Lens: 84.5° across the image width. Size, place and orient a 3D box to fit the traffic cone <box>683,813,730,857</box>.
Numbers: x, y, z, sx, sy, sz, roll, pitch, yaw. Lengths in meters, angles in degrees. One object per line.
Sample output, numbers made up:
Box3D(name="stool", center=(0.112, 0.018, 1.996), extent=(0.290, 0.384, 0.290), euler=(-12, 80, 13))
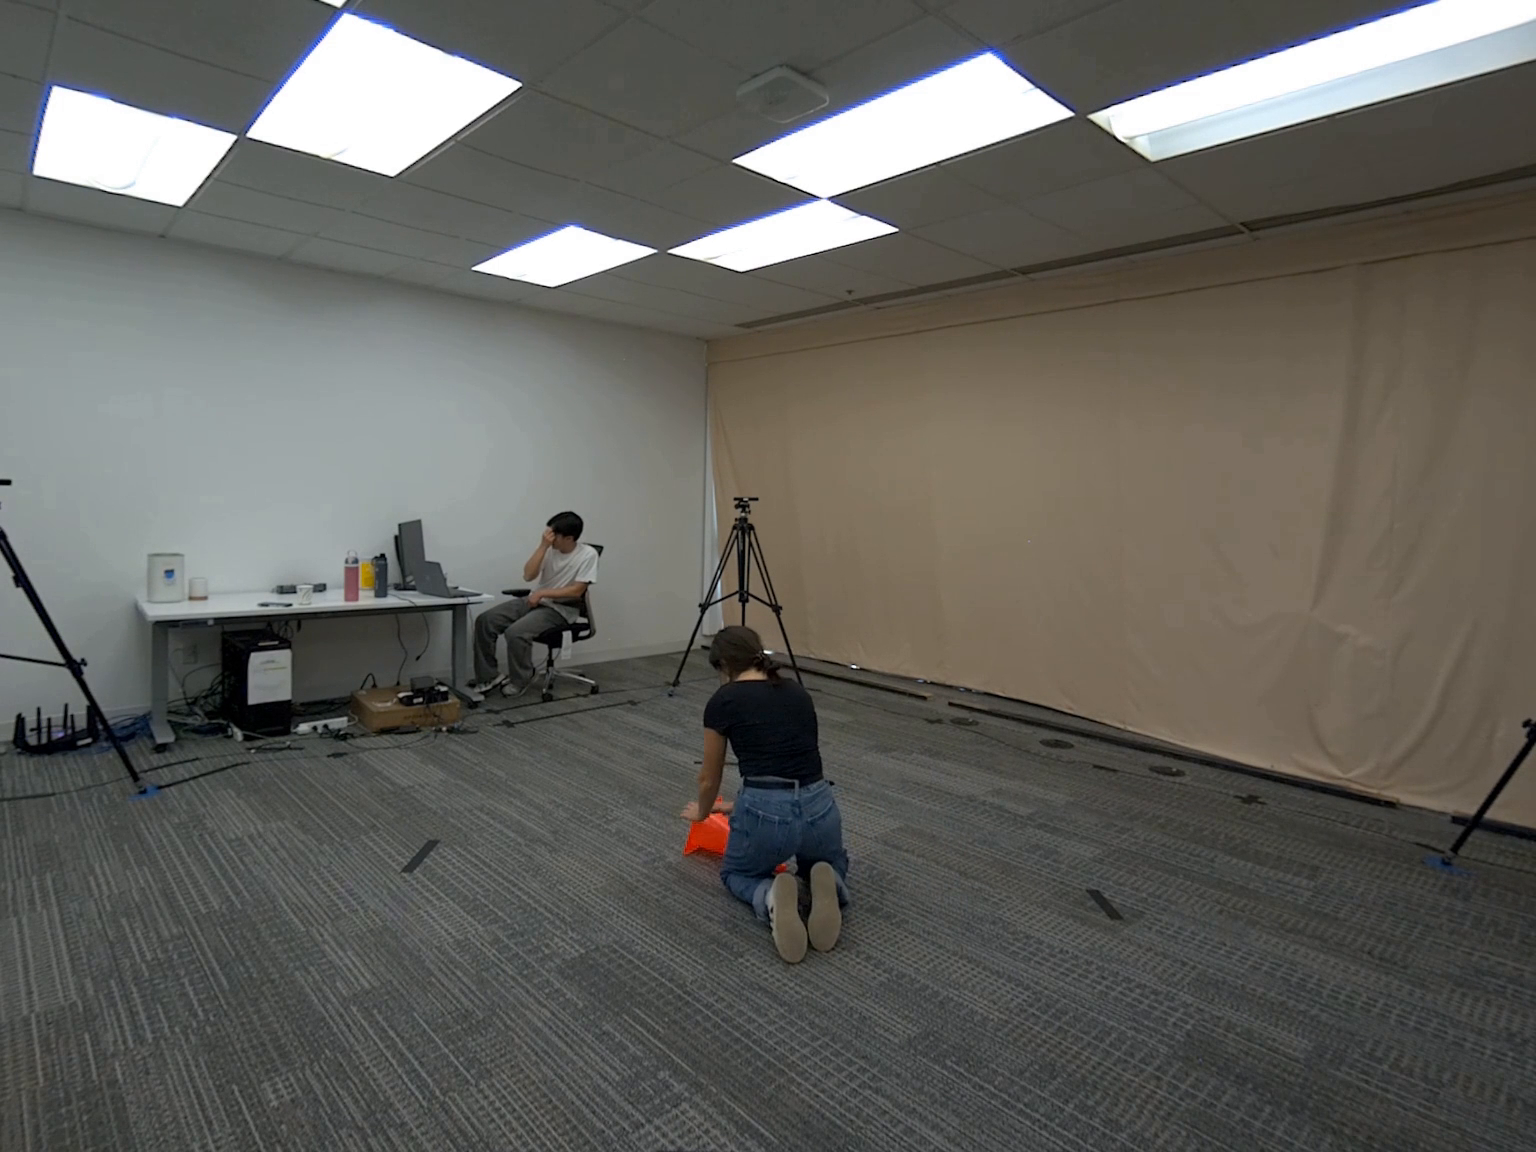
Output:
Box3D(name="traffic cone", center=(-0.108, 1.041, 3.233), extent=(0.393, 0.204, 0.199), euler=(17, 11, 29))
